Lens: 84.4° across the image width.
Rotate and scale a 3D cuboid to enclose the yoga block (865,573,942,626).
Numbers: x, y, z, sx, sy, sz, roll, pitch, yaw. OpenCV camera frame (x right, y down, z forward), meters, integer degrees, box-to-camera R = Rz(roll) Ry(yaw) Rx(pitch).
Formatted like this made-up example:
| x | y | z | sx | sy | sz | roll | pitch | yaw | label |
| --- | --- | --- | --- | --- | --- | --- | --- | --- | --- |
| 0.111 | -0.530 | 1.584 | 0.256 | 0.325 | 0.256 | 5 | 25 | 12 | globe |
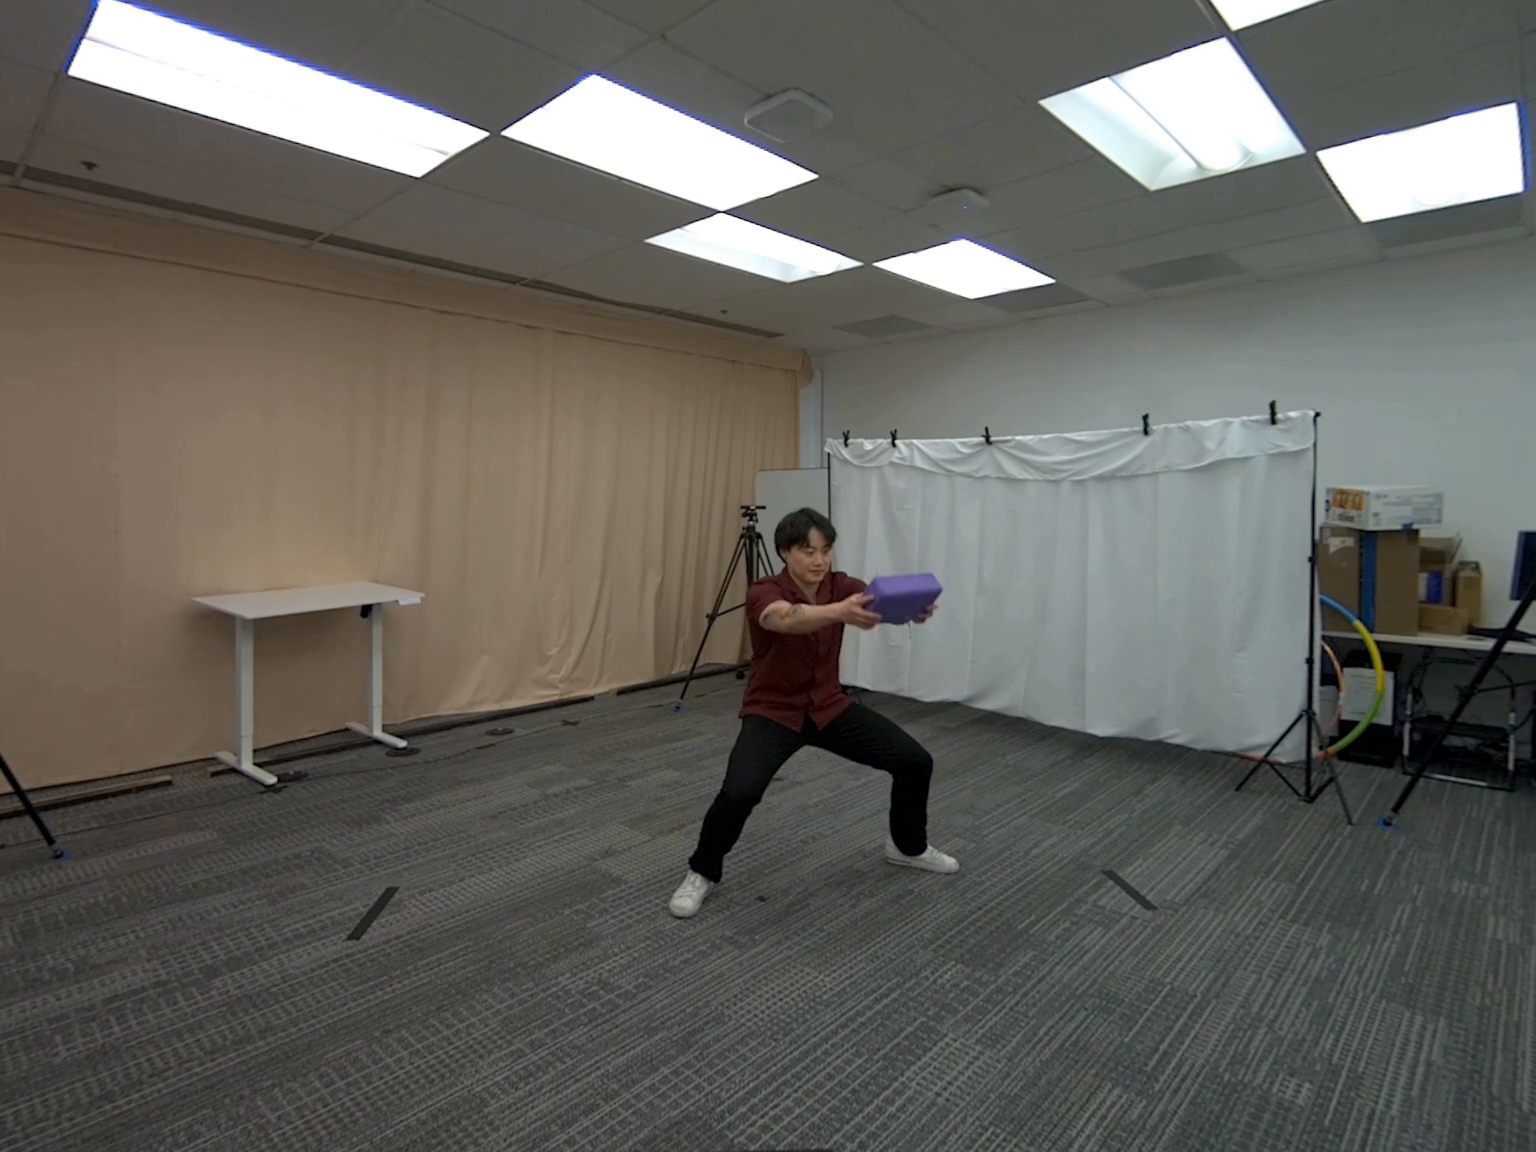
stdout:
| x | y | z | sx | sy | sz | roll | pitch | yaw | label |
| --- | --- | --- | --- | --- | --- | --- | --- | --- | --- |
| 0.391 | 0.061 | 2.529 | 0.223 | 0.078 | 0.149 | -2 | -38 | -28 | yoga block |
